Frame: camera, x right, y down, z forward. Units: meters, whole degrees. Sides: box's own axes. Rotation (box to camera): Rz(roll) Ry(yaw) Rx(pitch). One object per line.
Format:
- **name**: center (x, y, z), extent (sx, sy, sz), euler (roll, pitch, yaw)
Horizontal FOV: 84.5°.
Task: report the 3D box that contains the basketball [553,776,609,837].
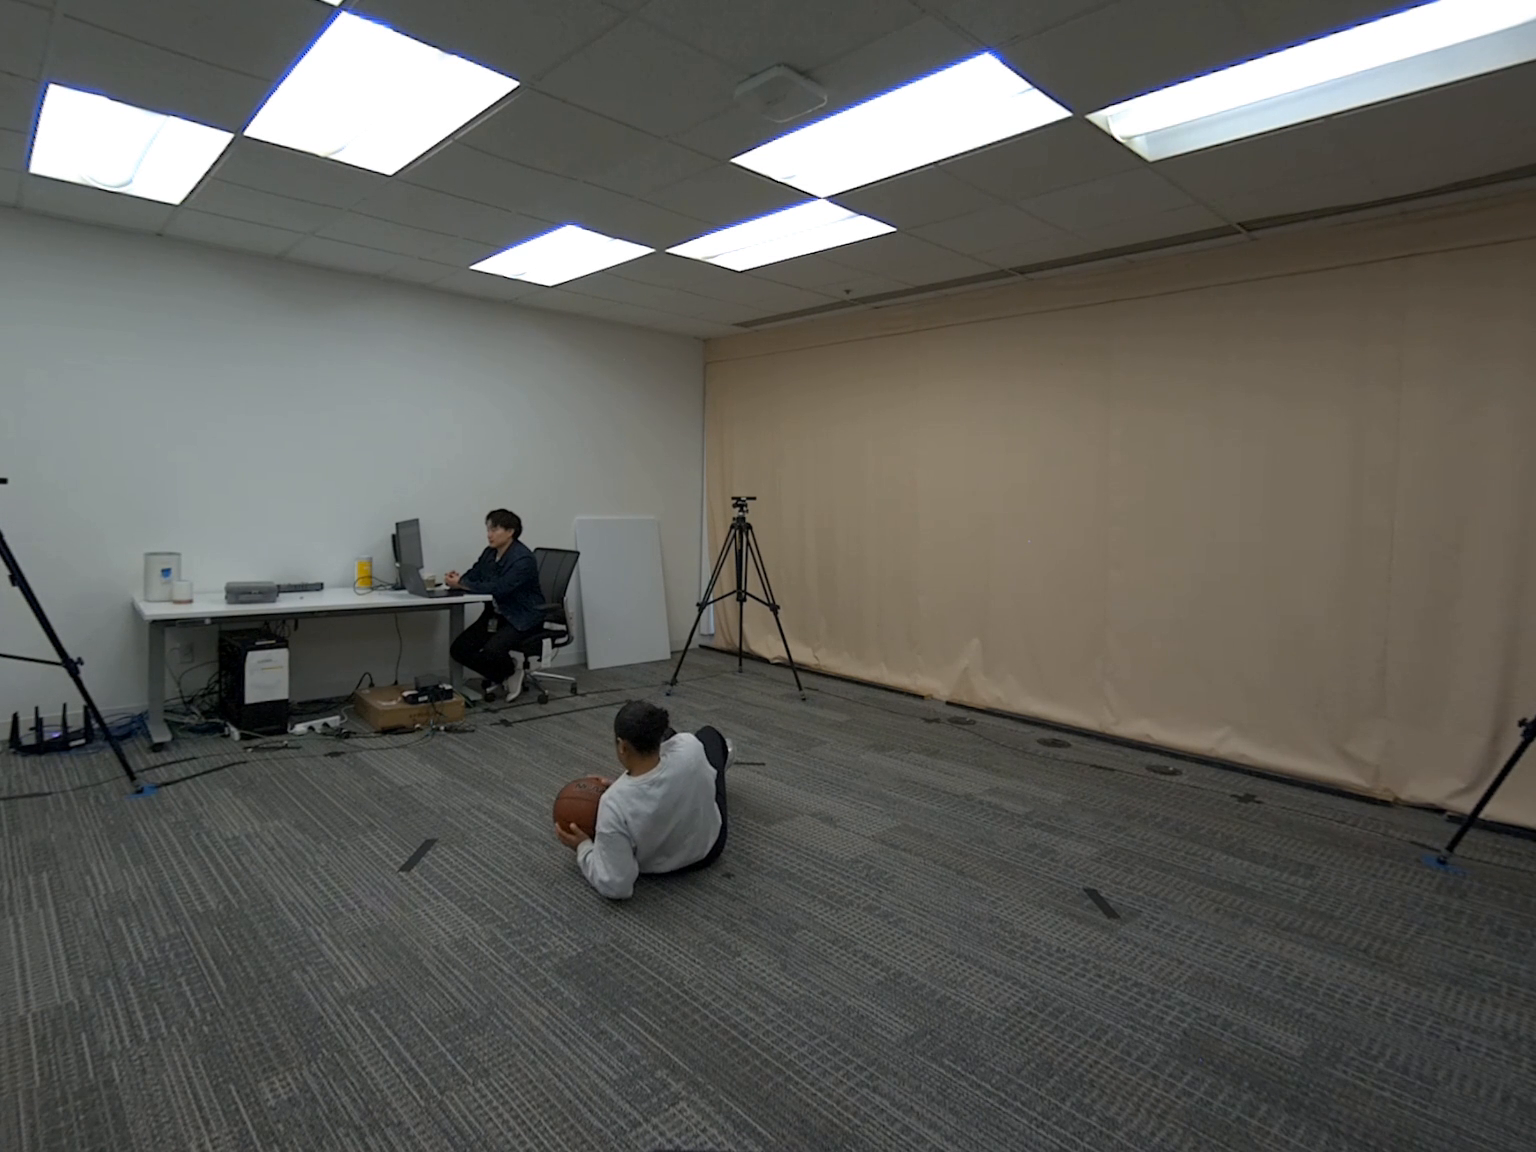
- **basketball**: center (-0.672, 0.856, 3.149), extent (0.236, 0.235, 0.237), euler (1, 4, -1)
